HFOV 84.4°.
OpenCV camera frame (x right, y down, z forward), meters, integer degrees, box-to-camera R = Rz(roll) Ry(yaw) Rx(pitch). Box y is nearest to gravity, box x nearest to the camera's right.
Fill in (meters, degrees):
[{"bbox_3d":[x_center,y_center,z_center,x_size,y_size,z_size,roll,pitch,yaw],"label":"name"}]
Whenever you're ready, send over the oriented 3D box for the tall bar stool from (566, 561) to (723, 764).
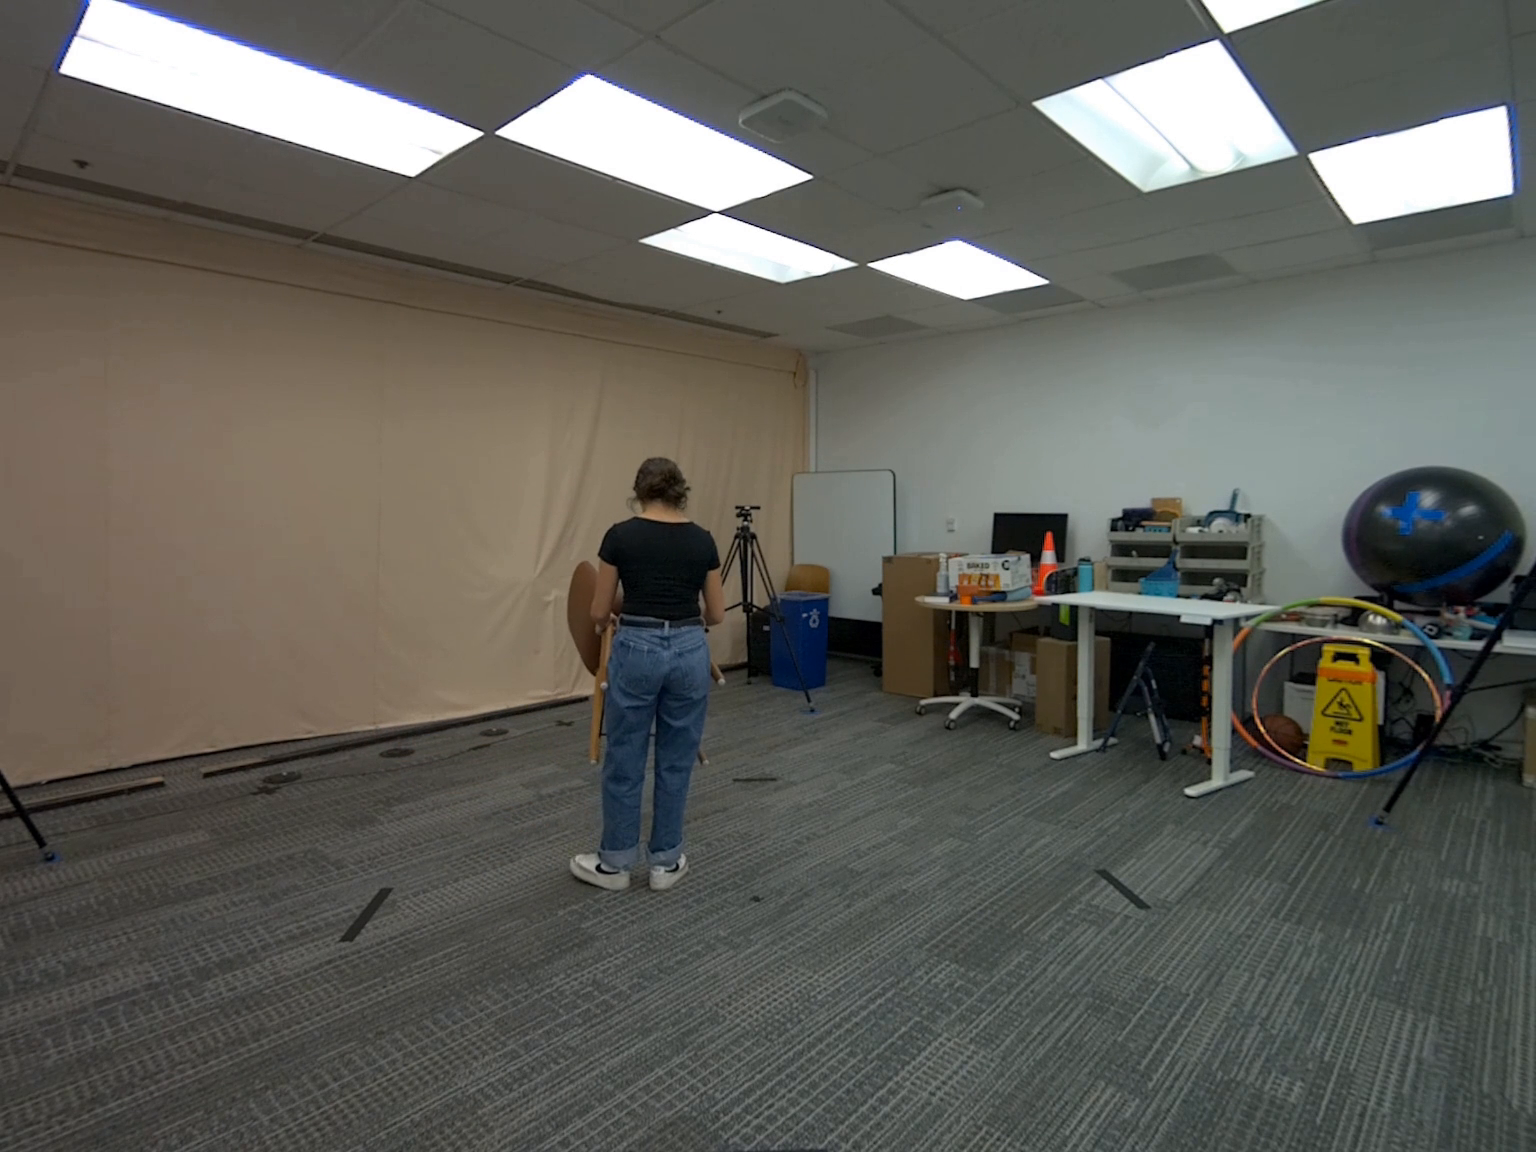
[{"bbox_3d":[-0.524,0.323,3.420,0.458,0.452,0.916,1,29,-20],"label":"tall bar stool"}]
